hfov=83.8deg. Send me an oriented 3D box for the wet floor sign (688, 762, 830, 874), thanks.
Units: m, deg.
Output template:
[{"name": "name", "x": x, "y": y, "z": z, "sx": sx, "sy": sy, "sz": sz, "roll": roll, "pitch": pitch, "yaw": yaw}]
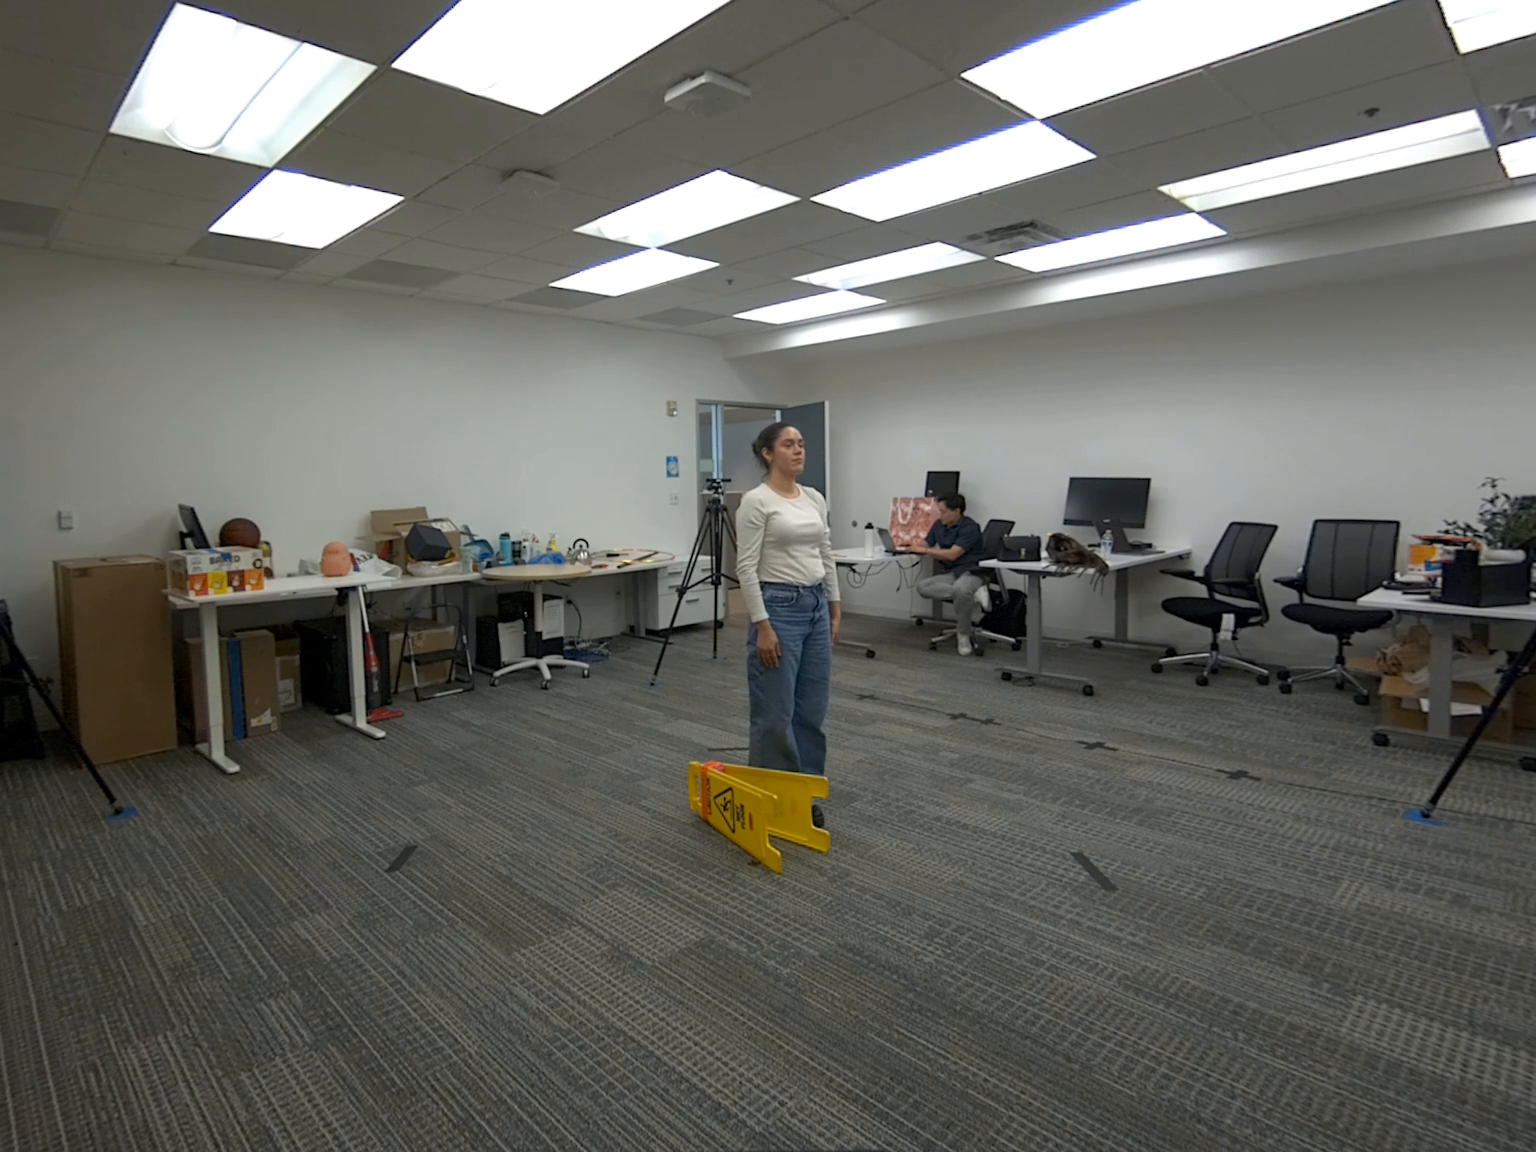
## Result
[{"name": "wet floor sign", "x": -0.098, "y": 0.890, "z": 3.333, "sx": 0.282, "sy": 0.281, "sz": 0.665, "roll": -5, "pitch": 6, "yaw": -43}]
